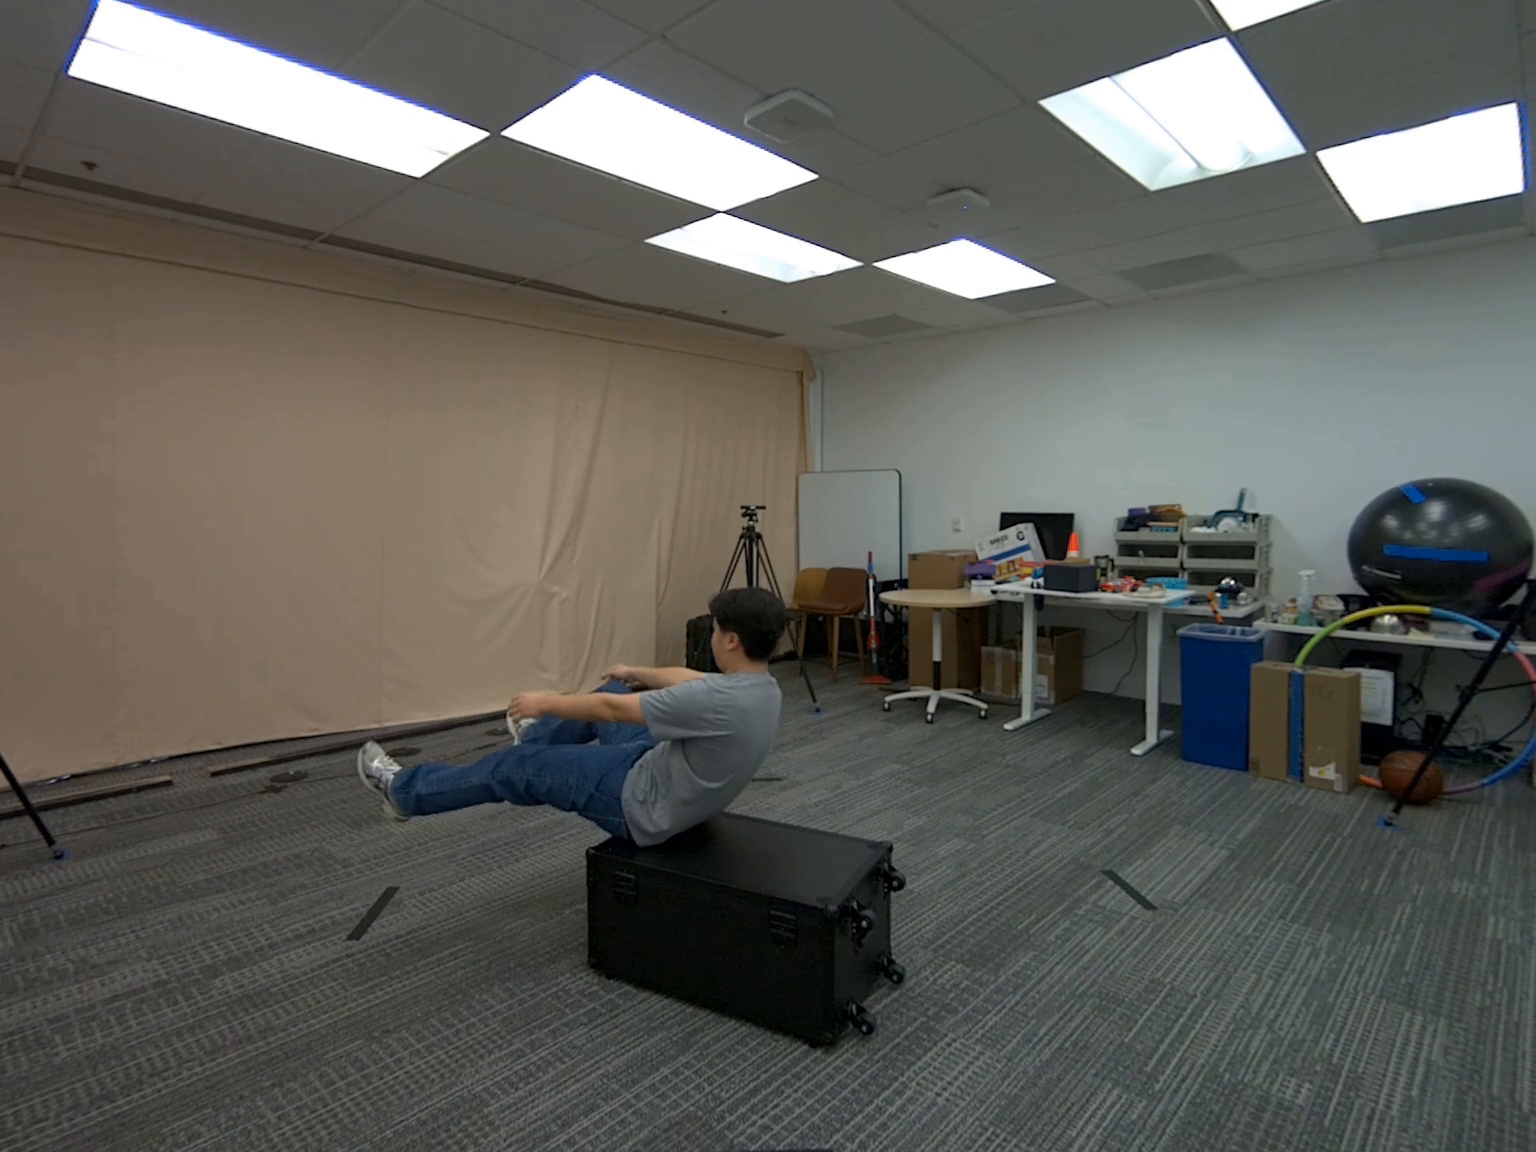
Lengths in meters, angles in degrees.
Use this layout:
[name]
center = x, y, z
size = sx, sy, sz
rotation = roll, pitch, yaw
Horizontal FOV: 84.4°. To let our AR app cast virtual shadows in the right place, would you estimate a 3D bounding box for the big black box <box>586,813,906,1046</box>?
[big black box]
center = -0.051, 0.996, 2.496
size = 0.885, 0.395, 0.508
rotation = 2, 4, 28
